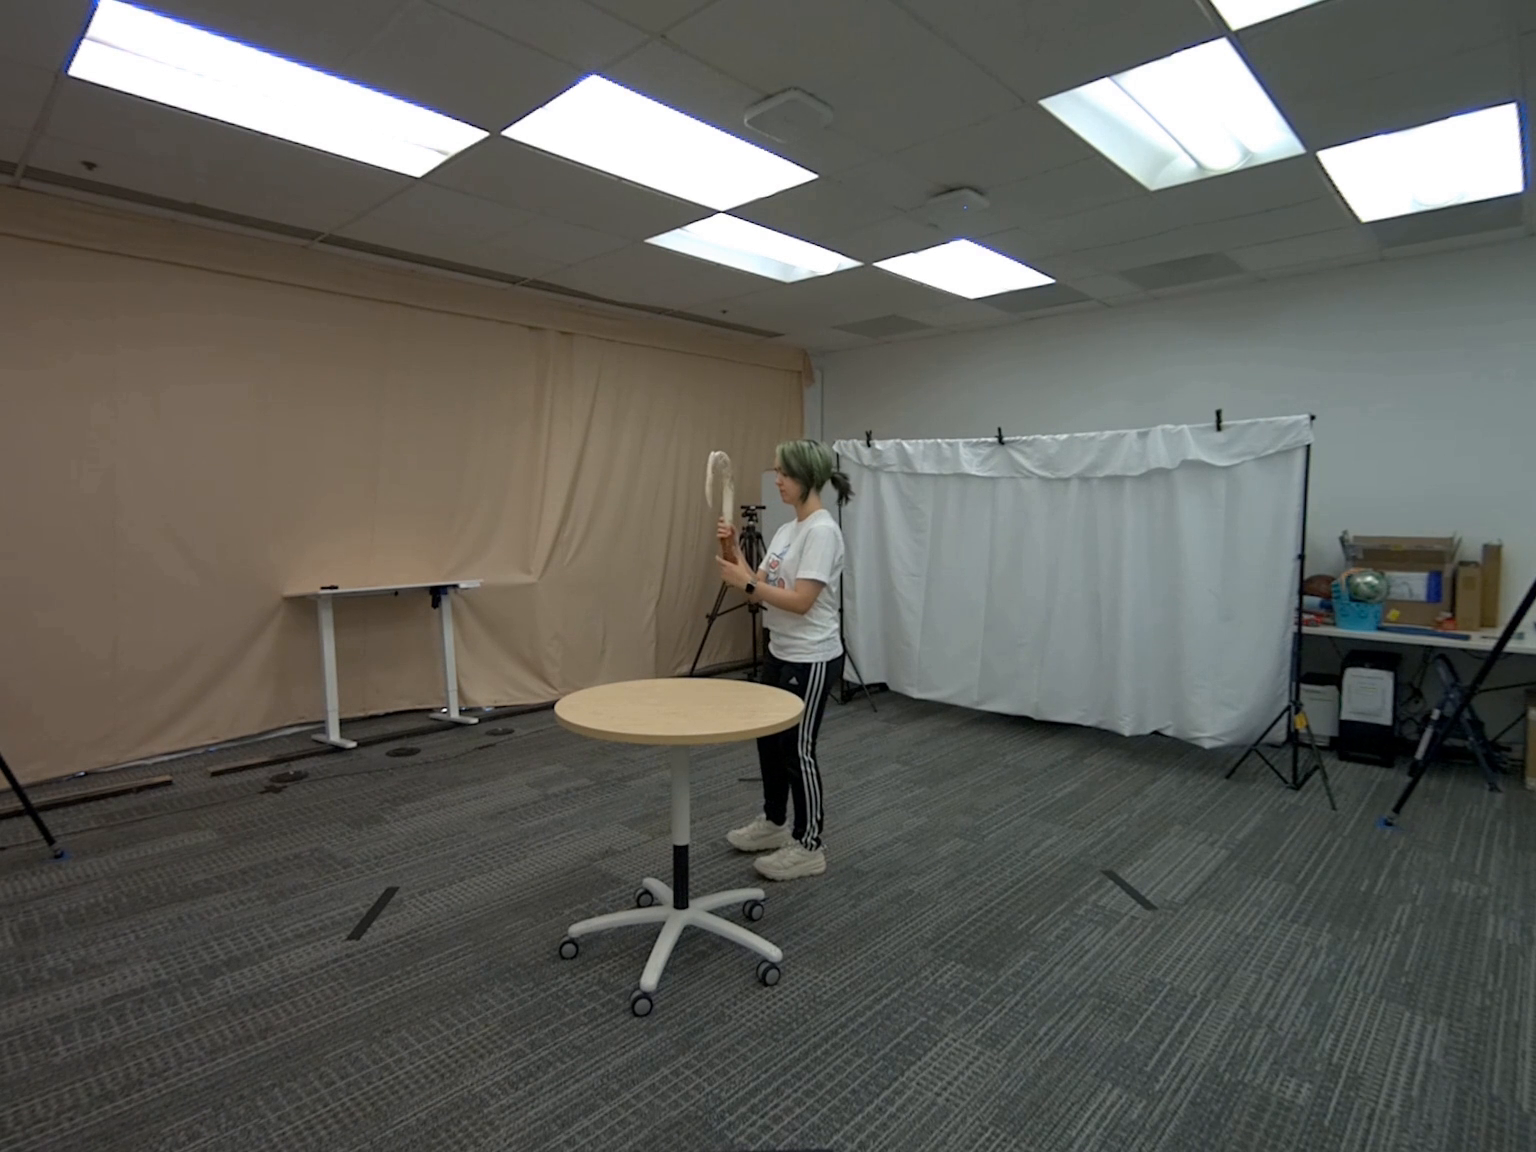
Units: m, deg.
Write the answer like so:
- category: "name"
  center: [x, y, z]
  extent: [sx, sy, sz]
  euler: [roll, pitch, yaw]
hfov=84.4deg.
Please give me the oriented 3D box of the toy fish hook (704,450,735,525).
- category: "toy fish hook"
  center: [-0.165, -0.205, 3.097]
  extent: [0.049, 0.503, 0.220]
  euler: [-2, 9, 24]
